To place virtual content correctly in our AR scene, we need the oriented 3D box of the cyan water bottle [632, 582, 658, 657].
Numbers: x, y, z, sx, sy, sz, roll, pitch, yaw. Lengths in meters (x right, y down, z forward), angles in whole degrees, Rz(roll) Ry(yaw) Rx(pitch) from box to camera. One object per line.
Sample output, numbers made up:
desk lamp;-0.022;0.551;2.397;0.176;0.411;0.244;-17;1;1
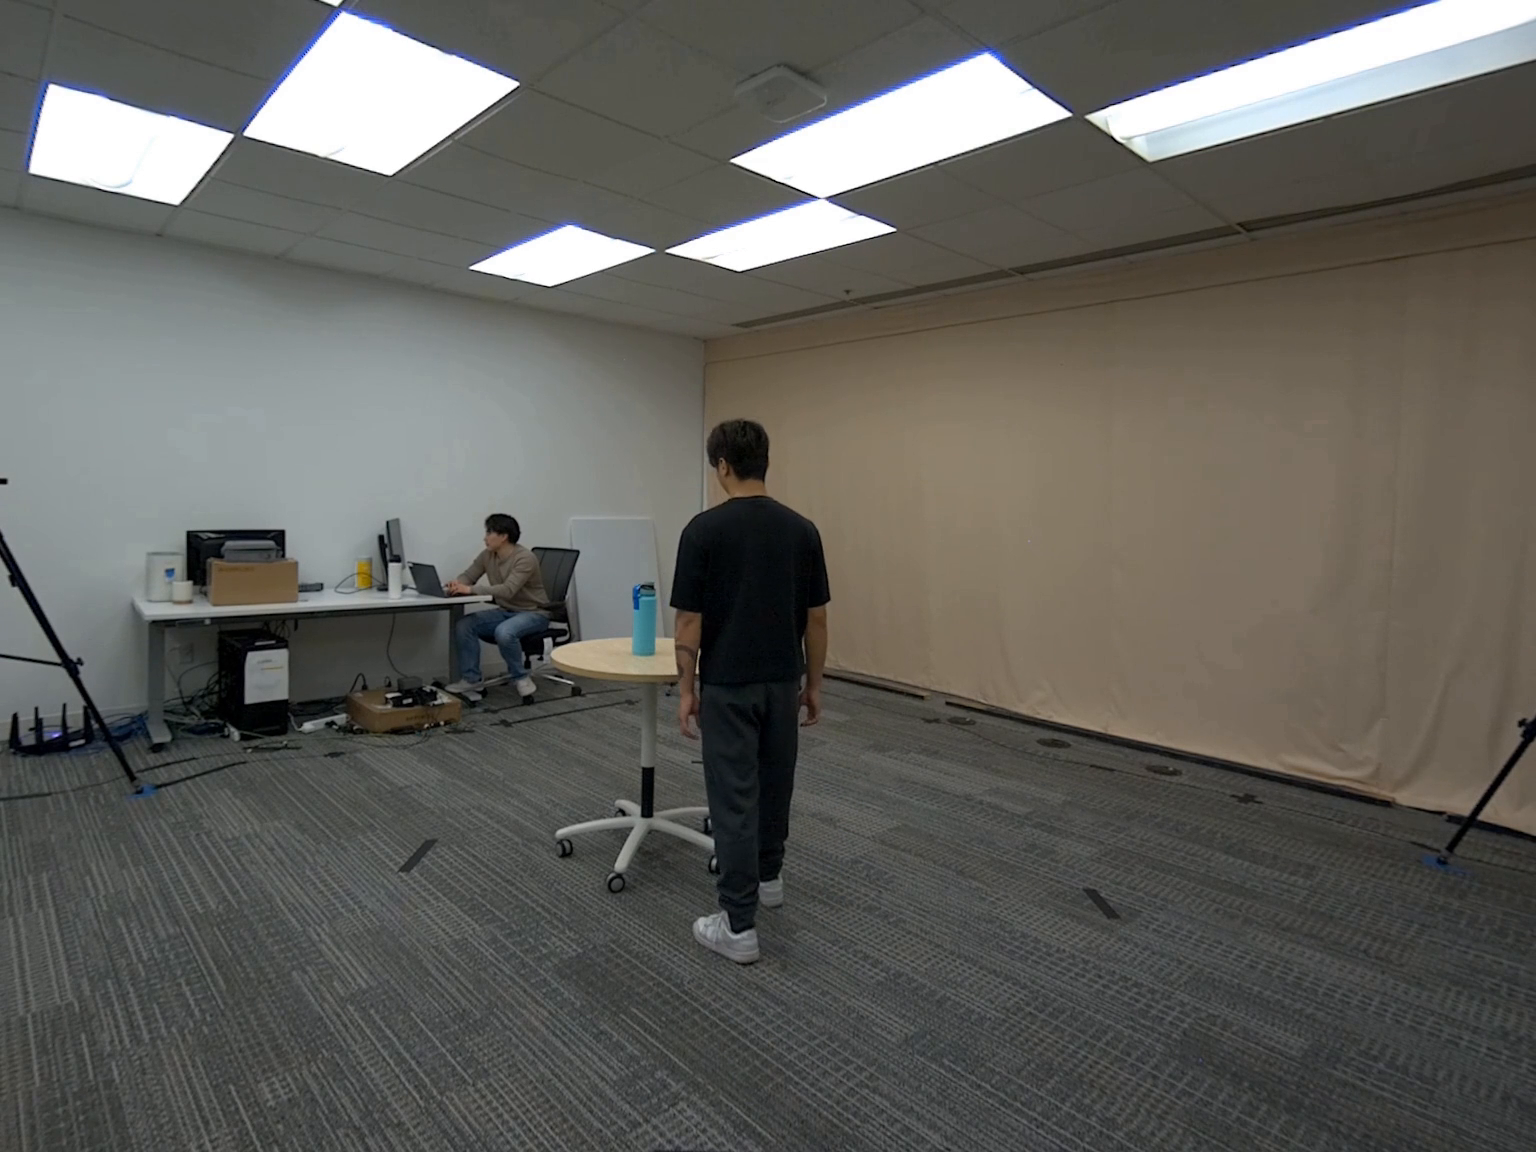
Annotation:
cyan water bottle;-0.490;0.163;3.259;0.092;0.282;0.093;1;4;-1
